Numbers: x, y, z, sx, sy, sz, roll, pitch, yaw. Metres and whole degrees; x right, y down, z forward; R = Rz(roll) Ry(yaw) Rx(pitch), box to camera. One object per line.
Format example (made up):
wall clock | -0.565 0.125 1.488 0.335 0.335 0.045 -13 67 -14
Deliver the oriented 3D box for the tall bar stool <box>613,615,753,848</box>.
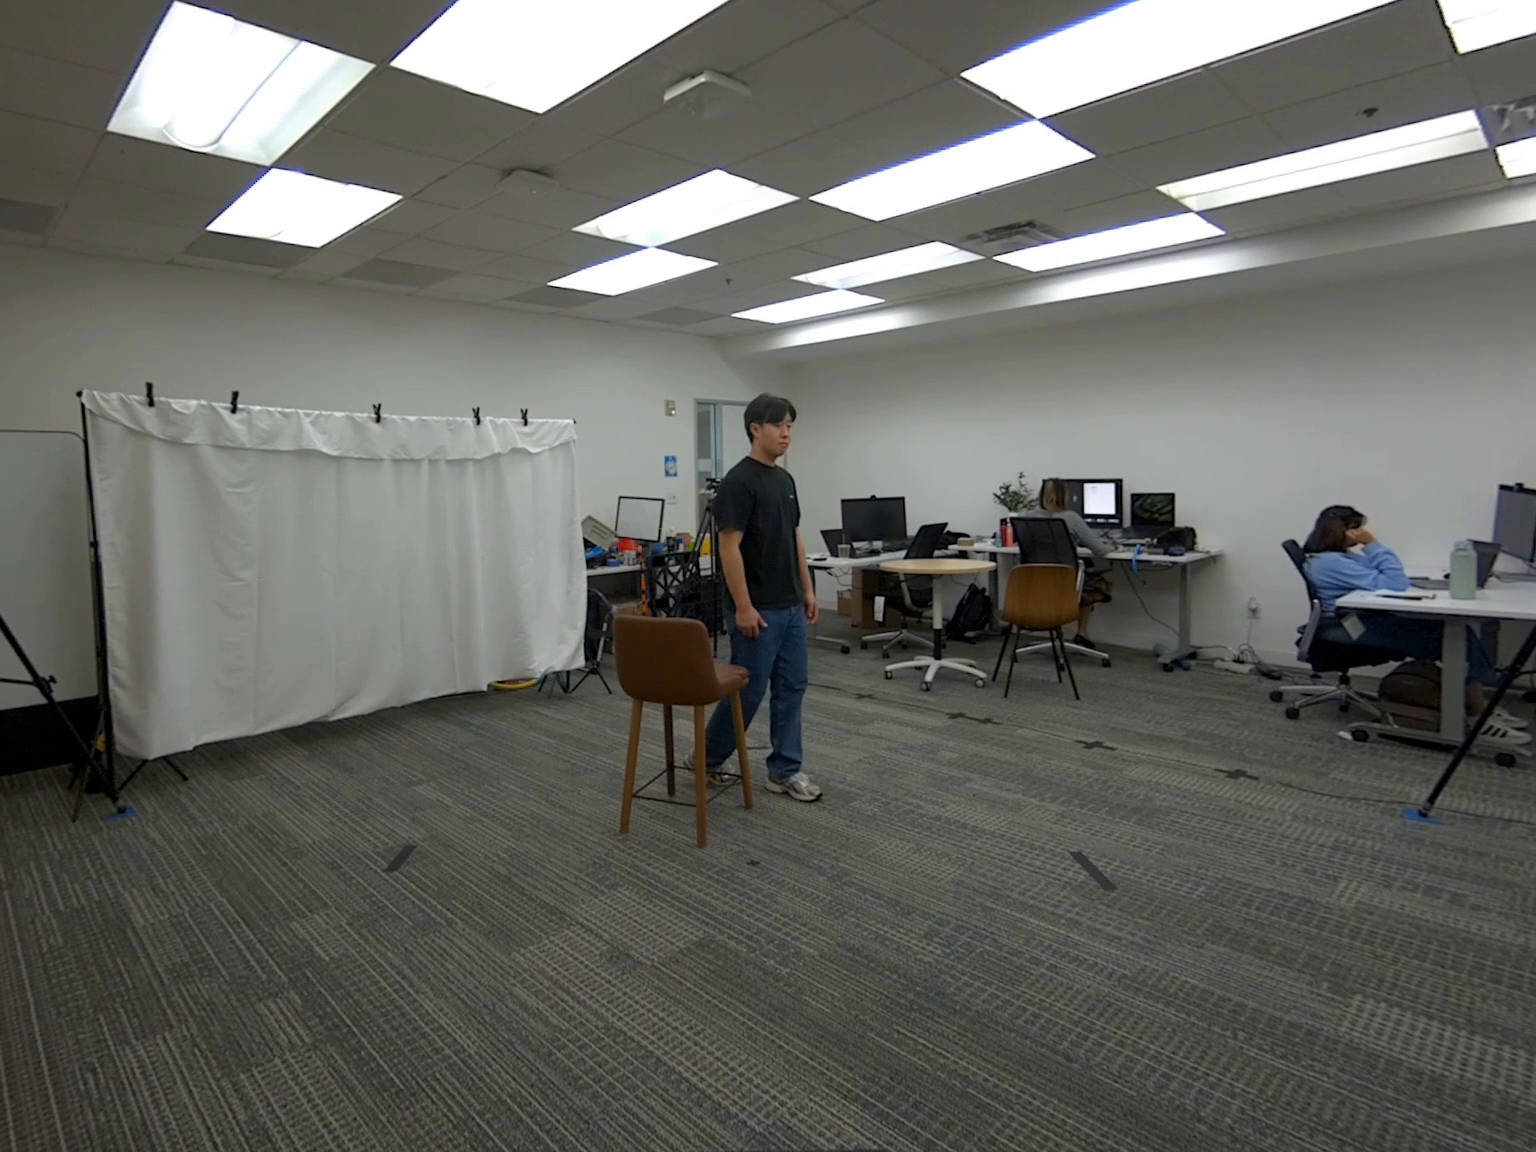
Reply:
tall bar stool | -0.346 0.568 3.485 0.467 0.885 0.459 1 6 25
